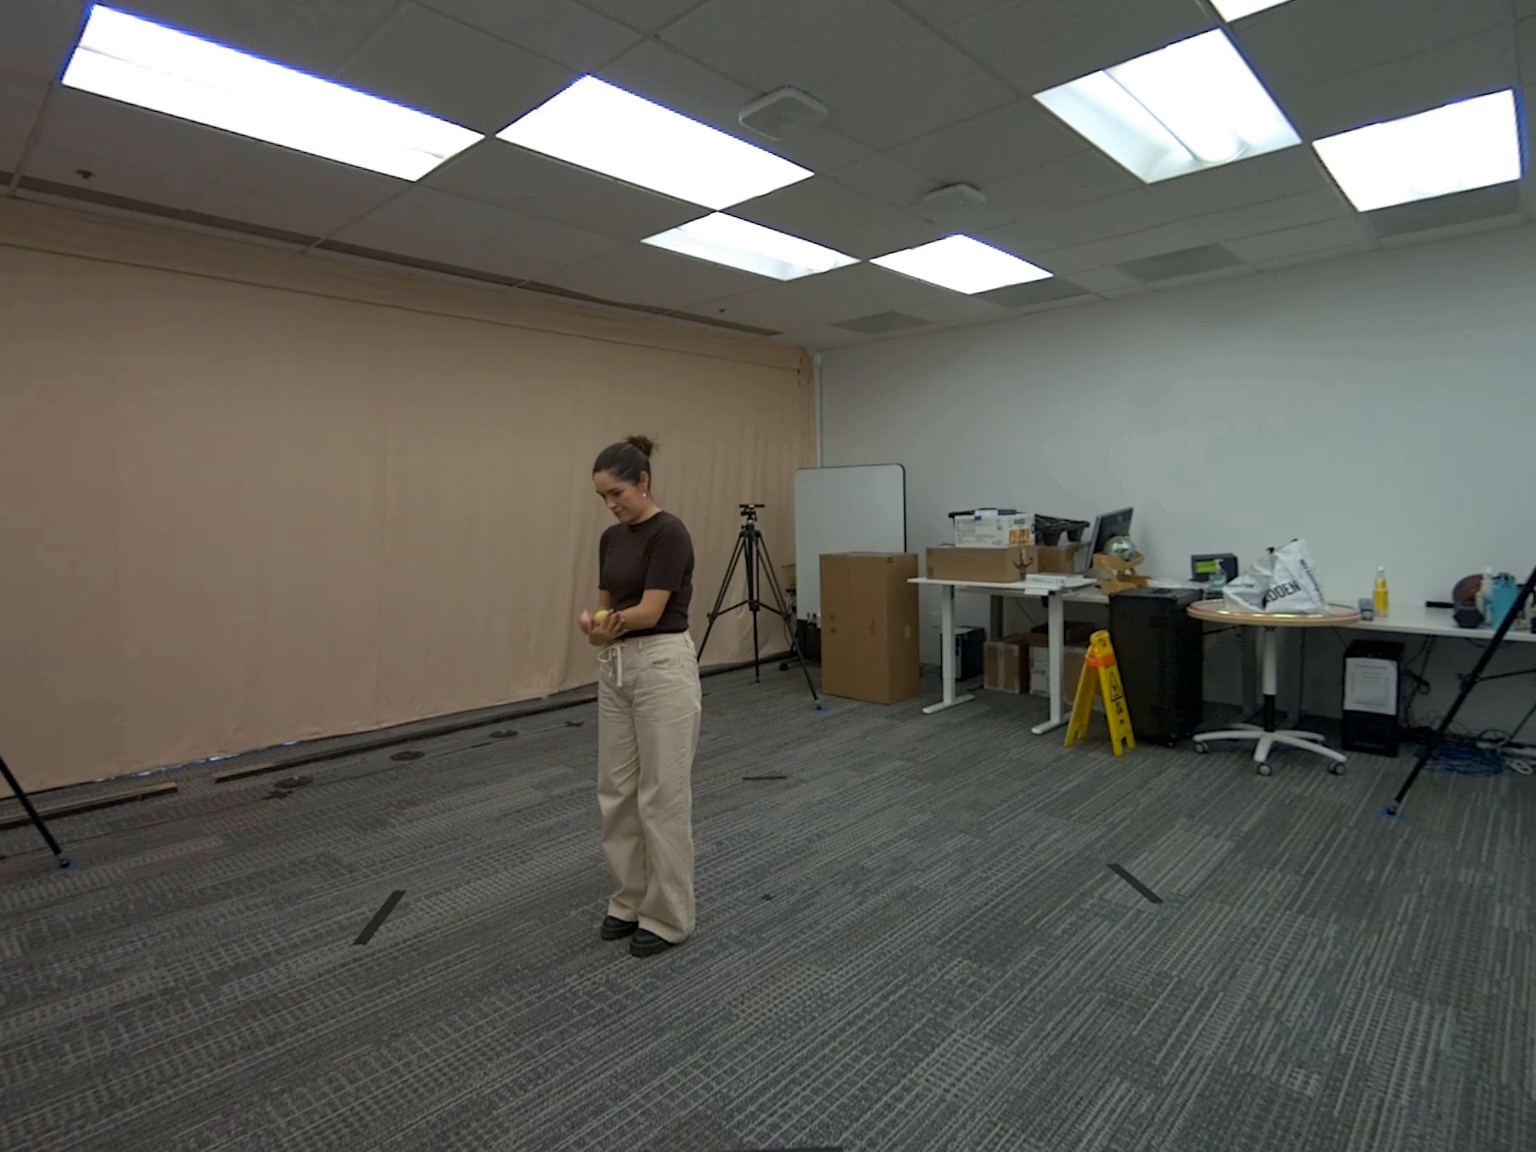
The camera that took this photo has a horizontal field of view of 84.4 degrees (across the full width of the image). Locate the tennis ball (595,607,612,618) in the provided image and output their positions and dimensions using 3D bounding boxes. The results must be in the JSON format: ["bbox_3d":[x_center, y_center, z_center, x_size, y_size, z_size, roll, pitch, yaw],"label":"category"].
[{"bbox_3d":[-0.535,0.140,2.719,0.066,0.066,0.067,-1,4,-2],"label":"tennis ball"}]
